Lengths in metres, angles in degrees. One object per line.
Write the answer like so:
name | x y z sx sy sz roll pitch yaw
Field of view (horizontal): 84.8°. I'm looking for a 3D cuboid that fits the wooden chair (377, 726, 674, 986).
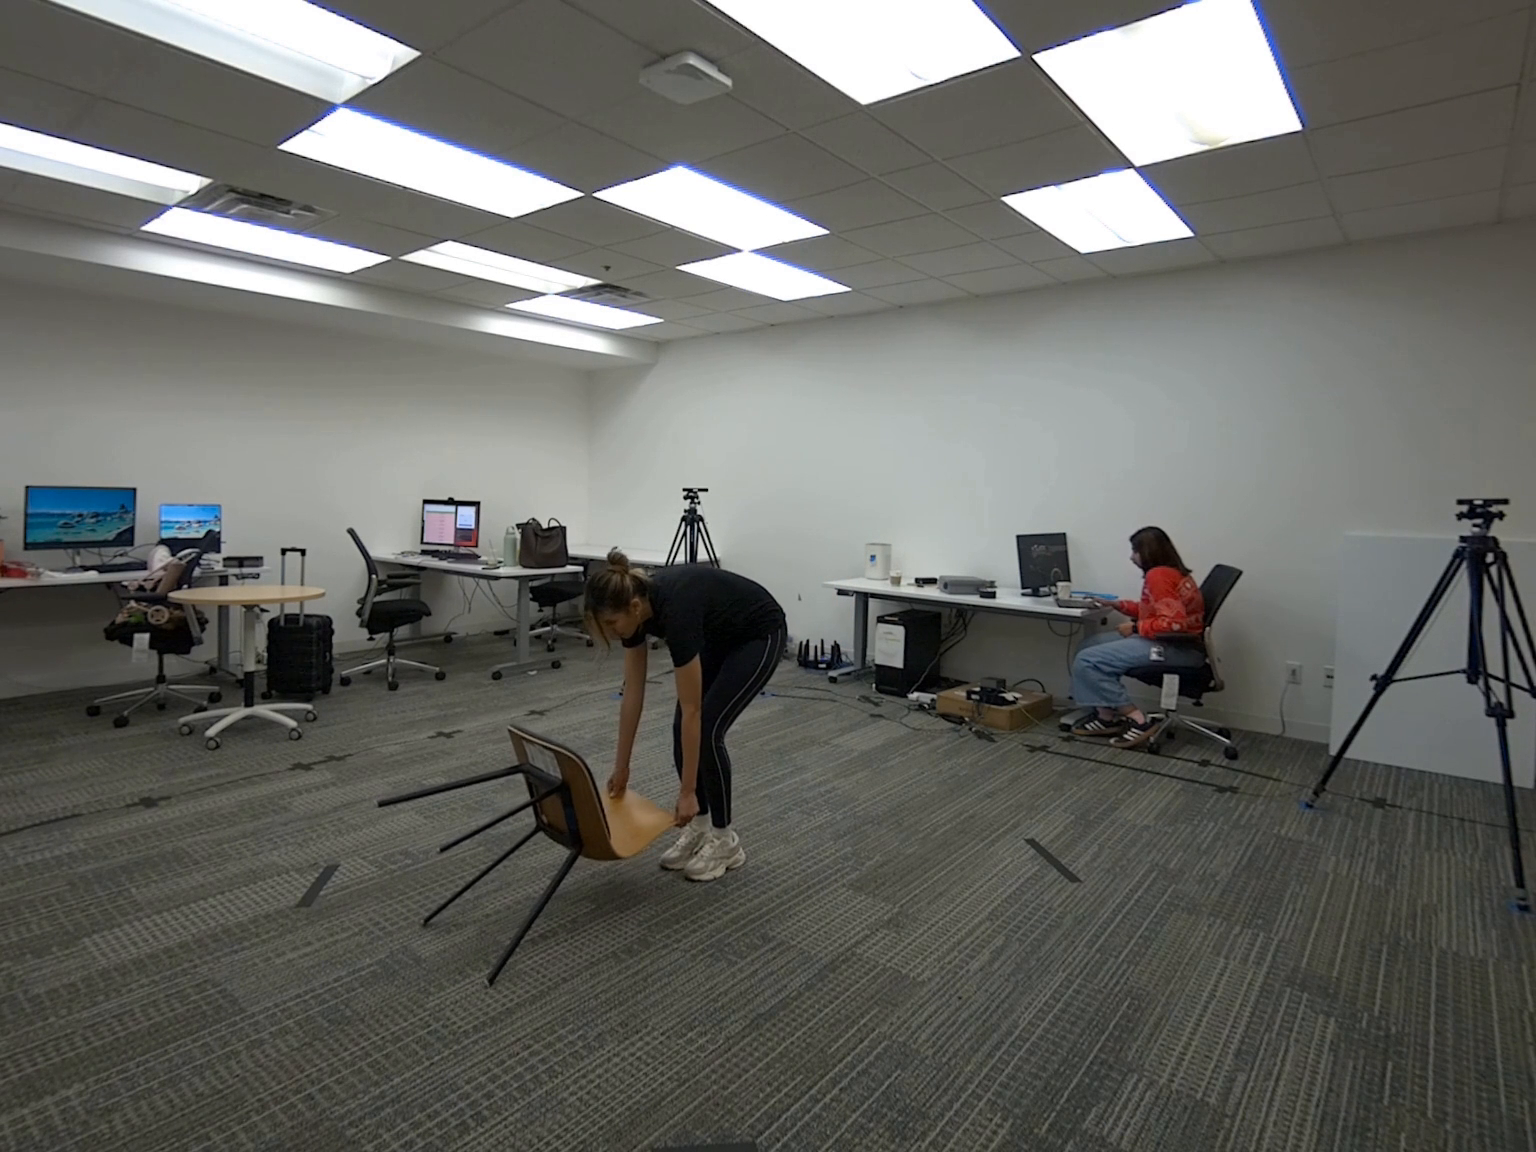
wooden chair | -0.699 0.736 2.720 0.861 0.515 0.494 -24 19 -40
